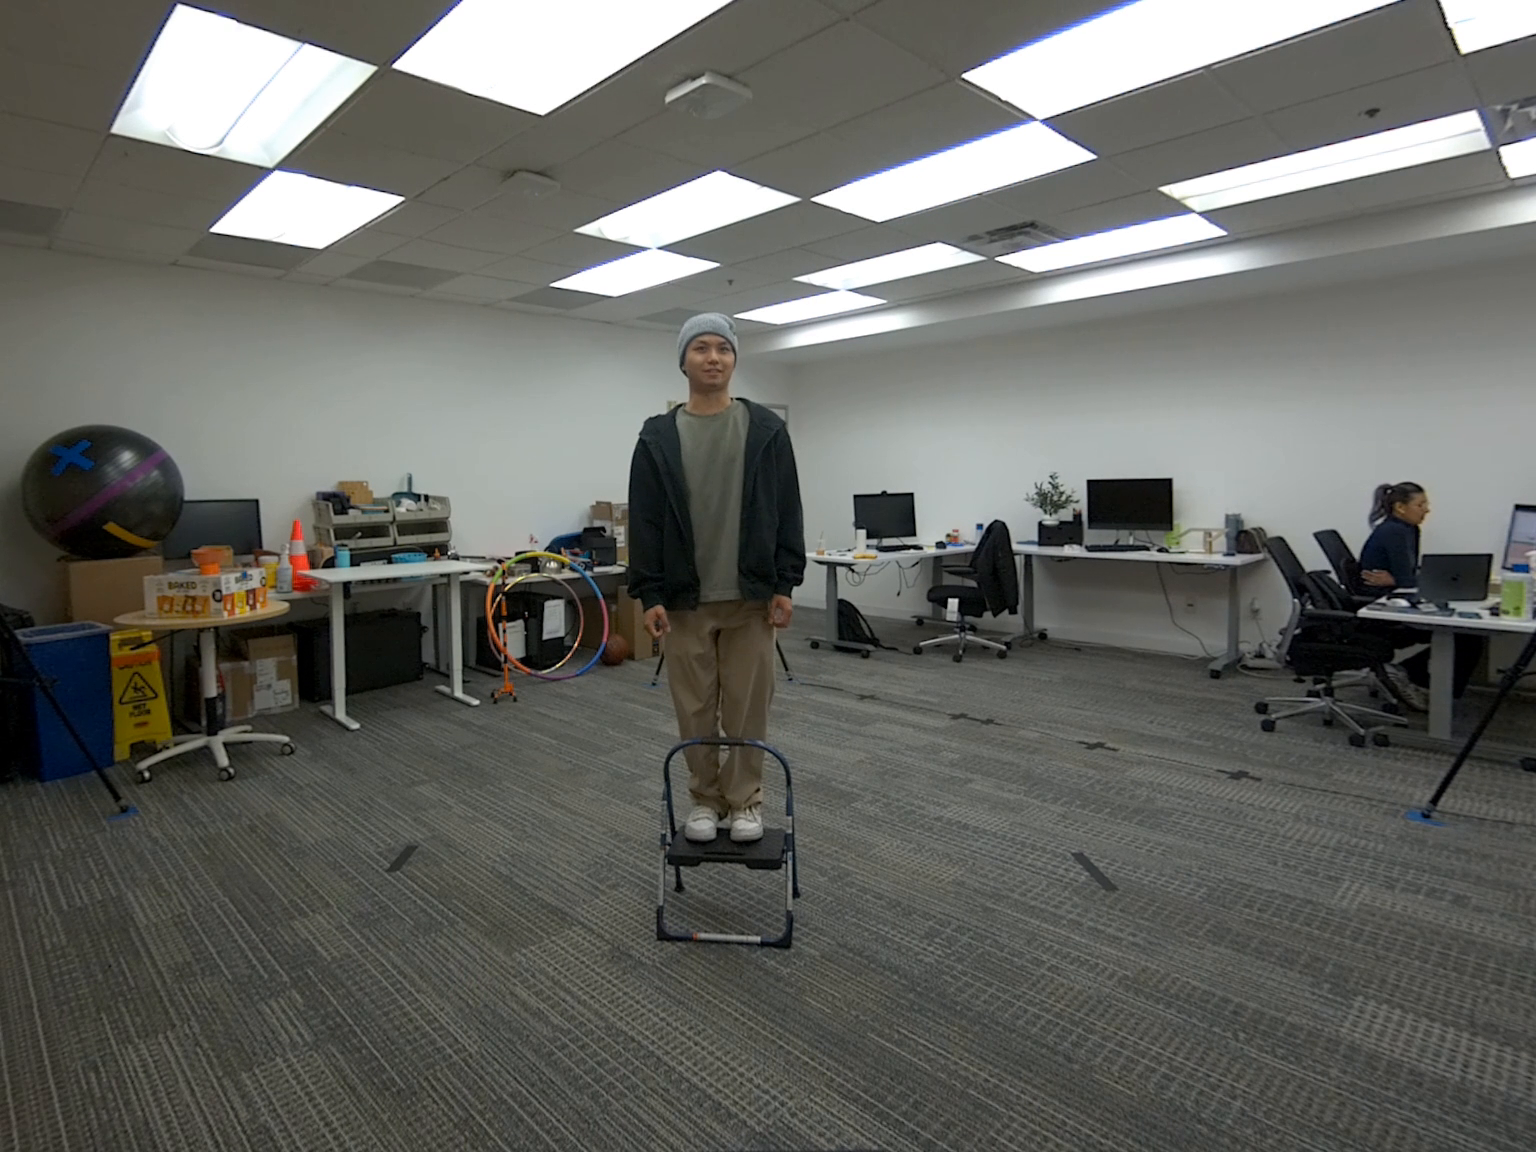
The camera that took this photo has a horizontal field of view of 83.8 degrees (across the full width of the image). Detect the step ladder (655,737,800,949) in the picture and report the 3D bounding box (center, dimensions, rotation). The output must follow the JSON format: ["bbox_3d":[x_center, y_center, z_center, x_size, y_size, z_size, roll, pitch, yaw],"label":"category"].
[{"bbox_3d":[-0.119,0.795,2.716,0.434,0.604,0.348,0,3,6],"label":"step ladder"}]
